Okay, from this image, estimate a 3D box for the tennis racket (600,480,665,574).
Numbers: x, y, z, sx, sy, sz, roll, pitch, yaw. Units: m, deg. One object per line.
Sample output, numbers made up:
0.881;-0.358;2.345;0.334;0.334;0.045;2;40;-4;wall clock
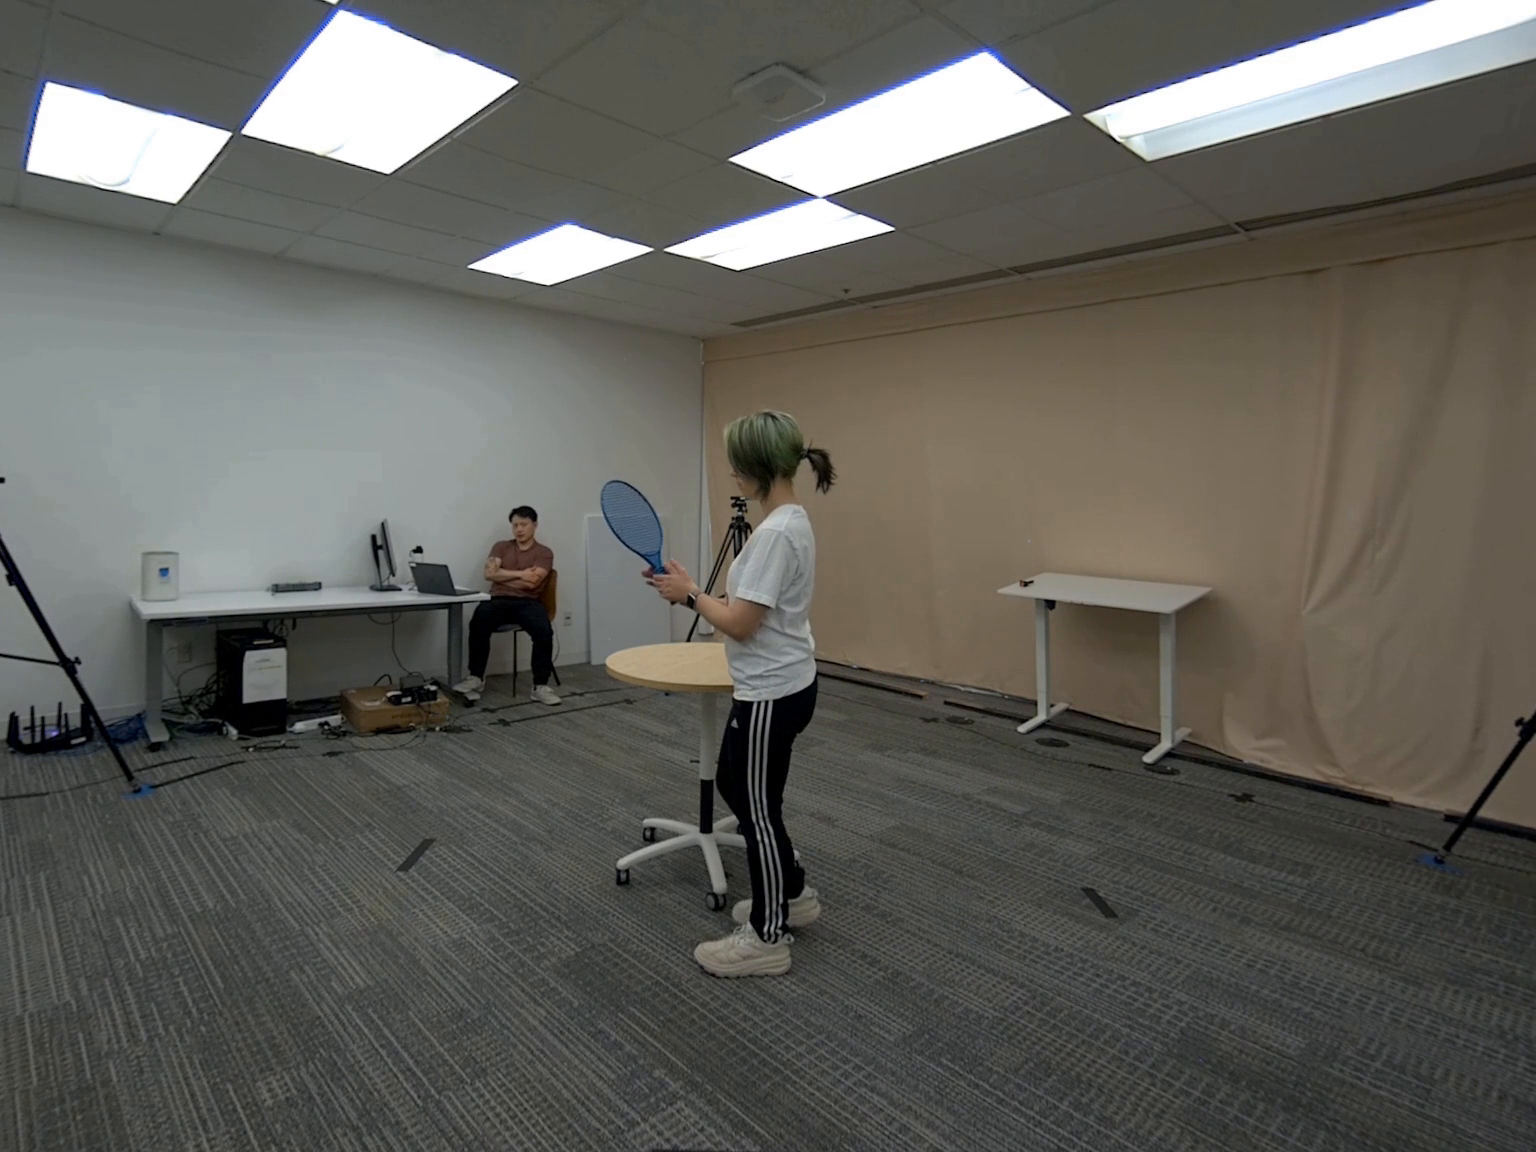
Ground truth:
-0.378;-0.107;2.562;0.032;0.436;0.211;-34;-7;35;tennis racket
